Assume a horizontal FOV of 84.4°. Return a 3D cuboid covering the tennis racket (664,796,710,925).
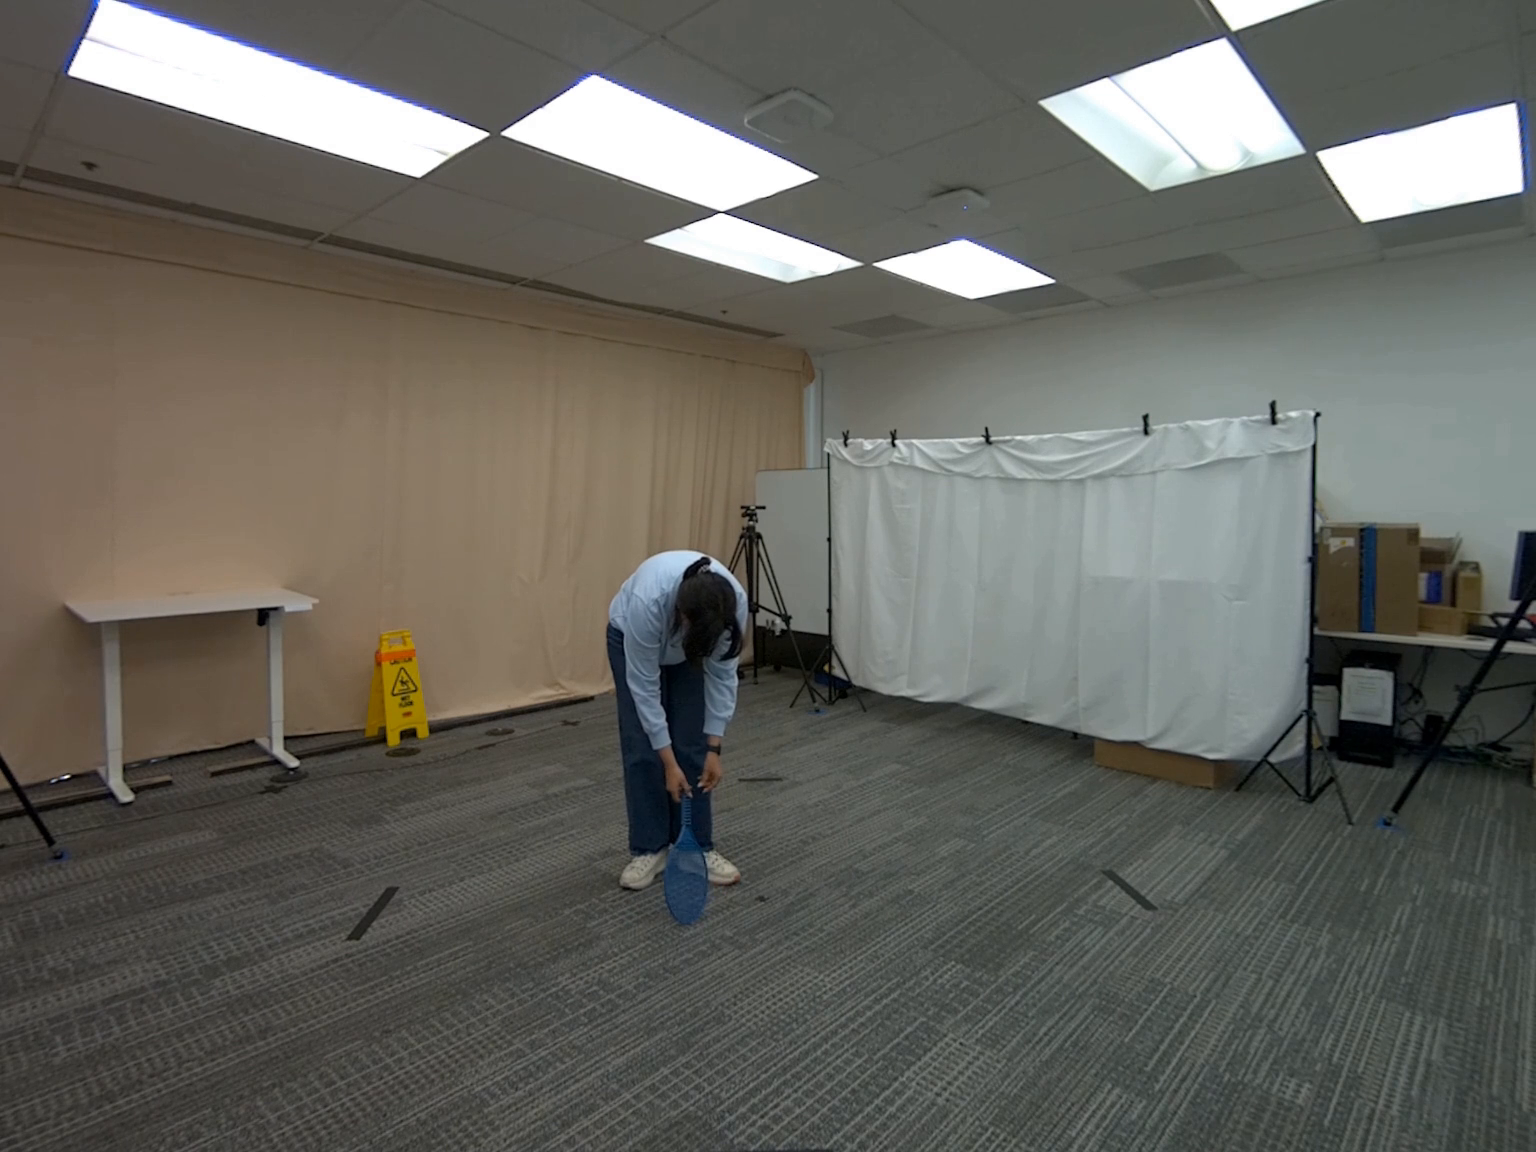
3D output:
[{"bbox_3d":[-0.268,0.946,2.877,0.032,0.438,0.206,-16,-26,37],"label":"tennis racket"}]
